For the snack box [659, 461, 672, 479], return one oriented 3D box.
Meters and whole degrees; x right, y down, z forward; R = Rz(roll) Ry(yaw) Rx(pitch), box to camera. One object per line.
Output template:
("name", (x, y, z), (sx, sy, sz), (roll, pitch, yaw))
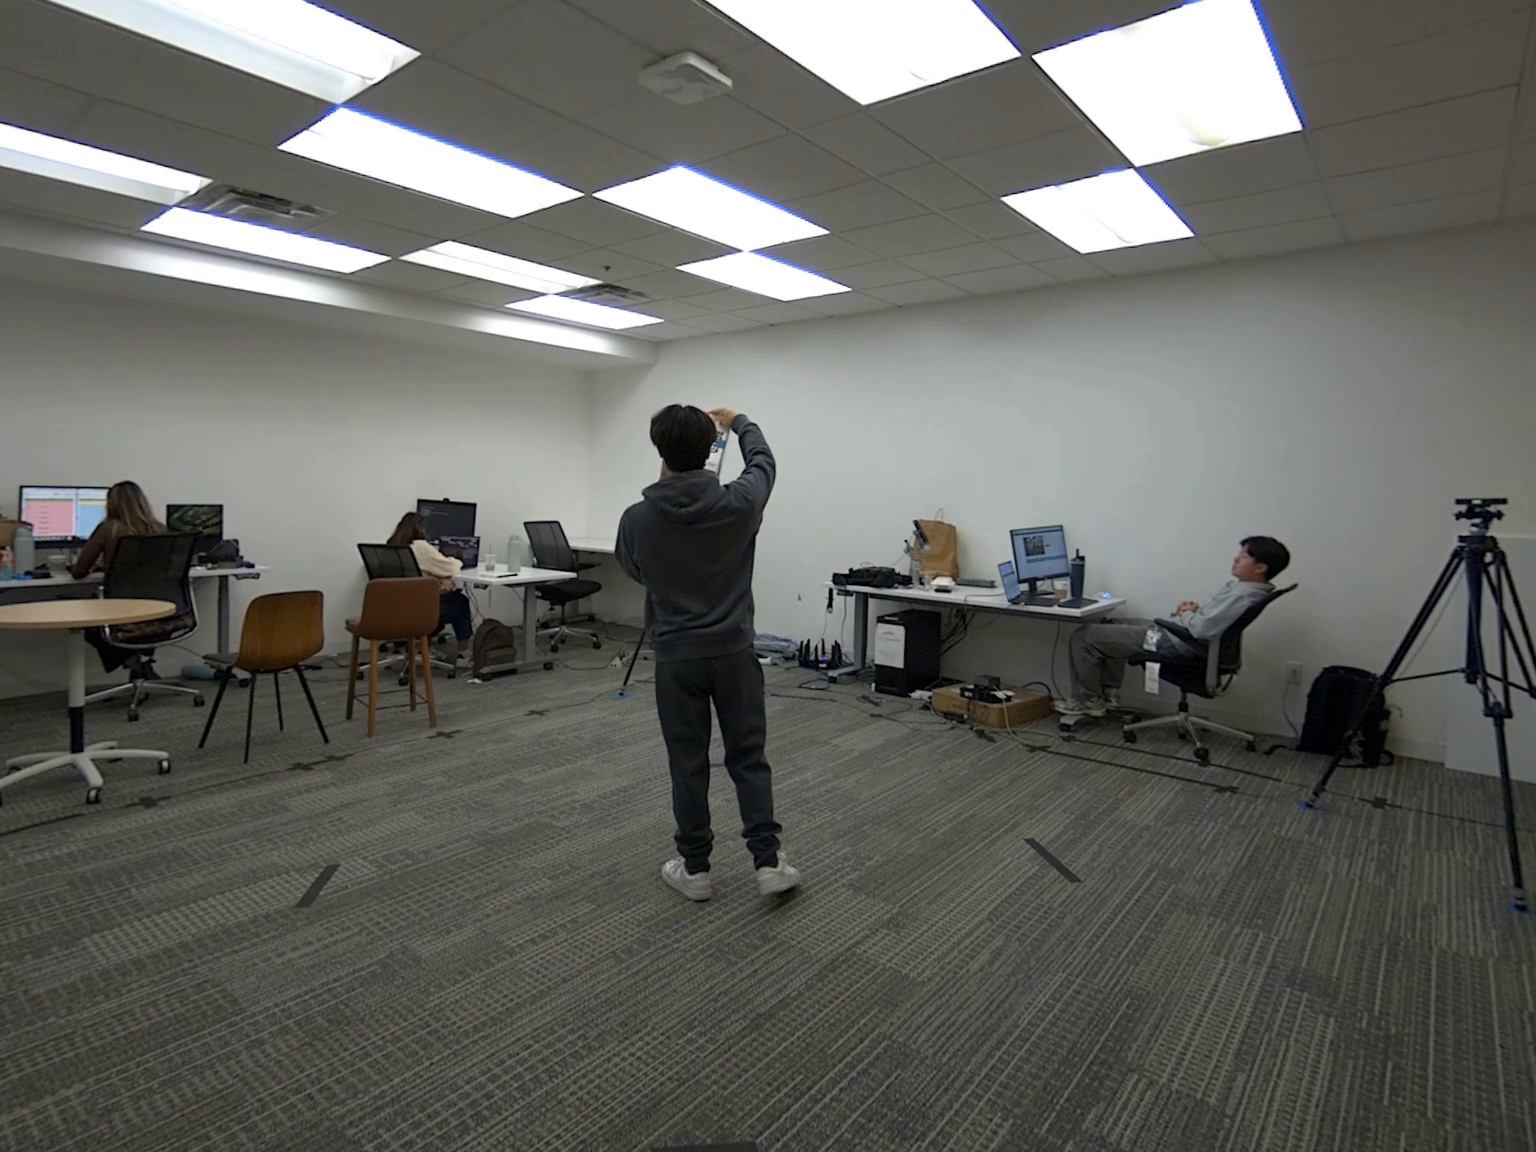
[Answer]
("snack box", (-0.308, -0.394, 3.341), (0.206, 0.397, 0.347), (15, 45, -1))
